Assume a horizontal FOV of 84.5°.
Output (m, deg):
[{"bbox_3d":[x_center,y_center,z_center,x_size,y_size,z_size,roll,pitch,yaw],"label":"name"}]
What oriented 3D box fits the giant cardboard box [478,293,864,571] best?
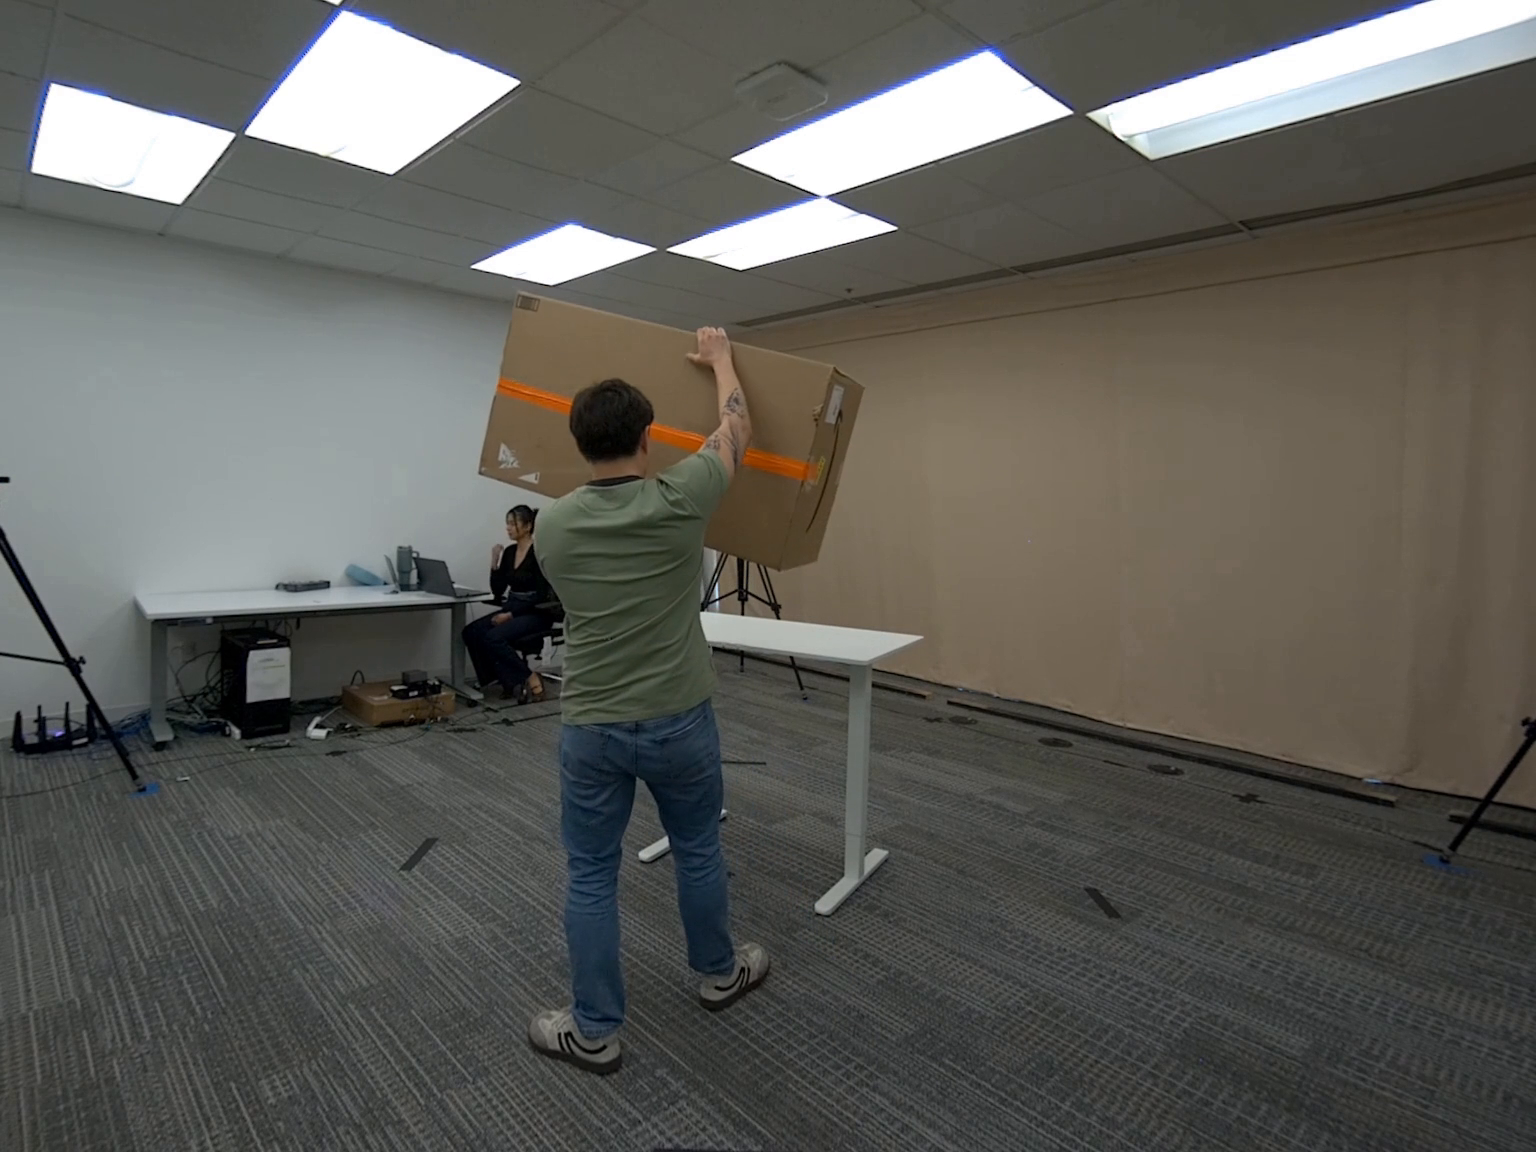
[{"bbox_3d":[-0.301,-0.453,2.614,1.044,0.575,0.420,18,9,19],"label":"giant cardboard box"}]
